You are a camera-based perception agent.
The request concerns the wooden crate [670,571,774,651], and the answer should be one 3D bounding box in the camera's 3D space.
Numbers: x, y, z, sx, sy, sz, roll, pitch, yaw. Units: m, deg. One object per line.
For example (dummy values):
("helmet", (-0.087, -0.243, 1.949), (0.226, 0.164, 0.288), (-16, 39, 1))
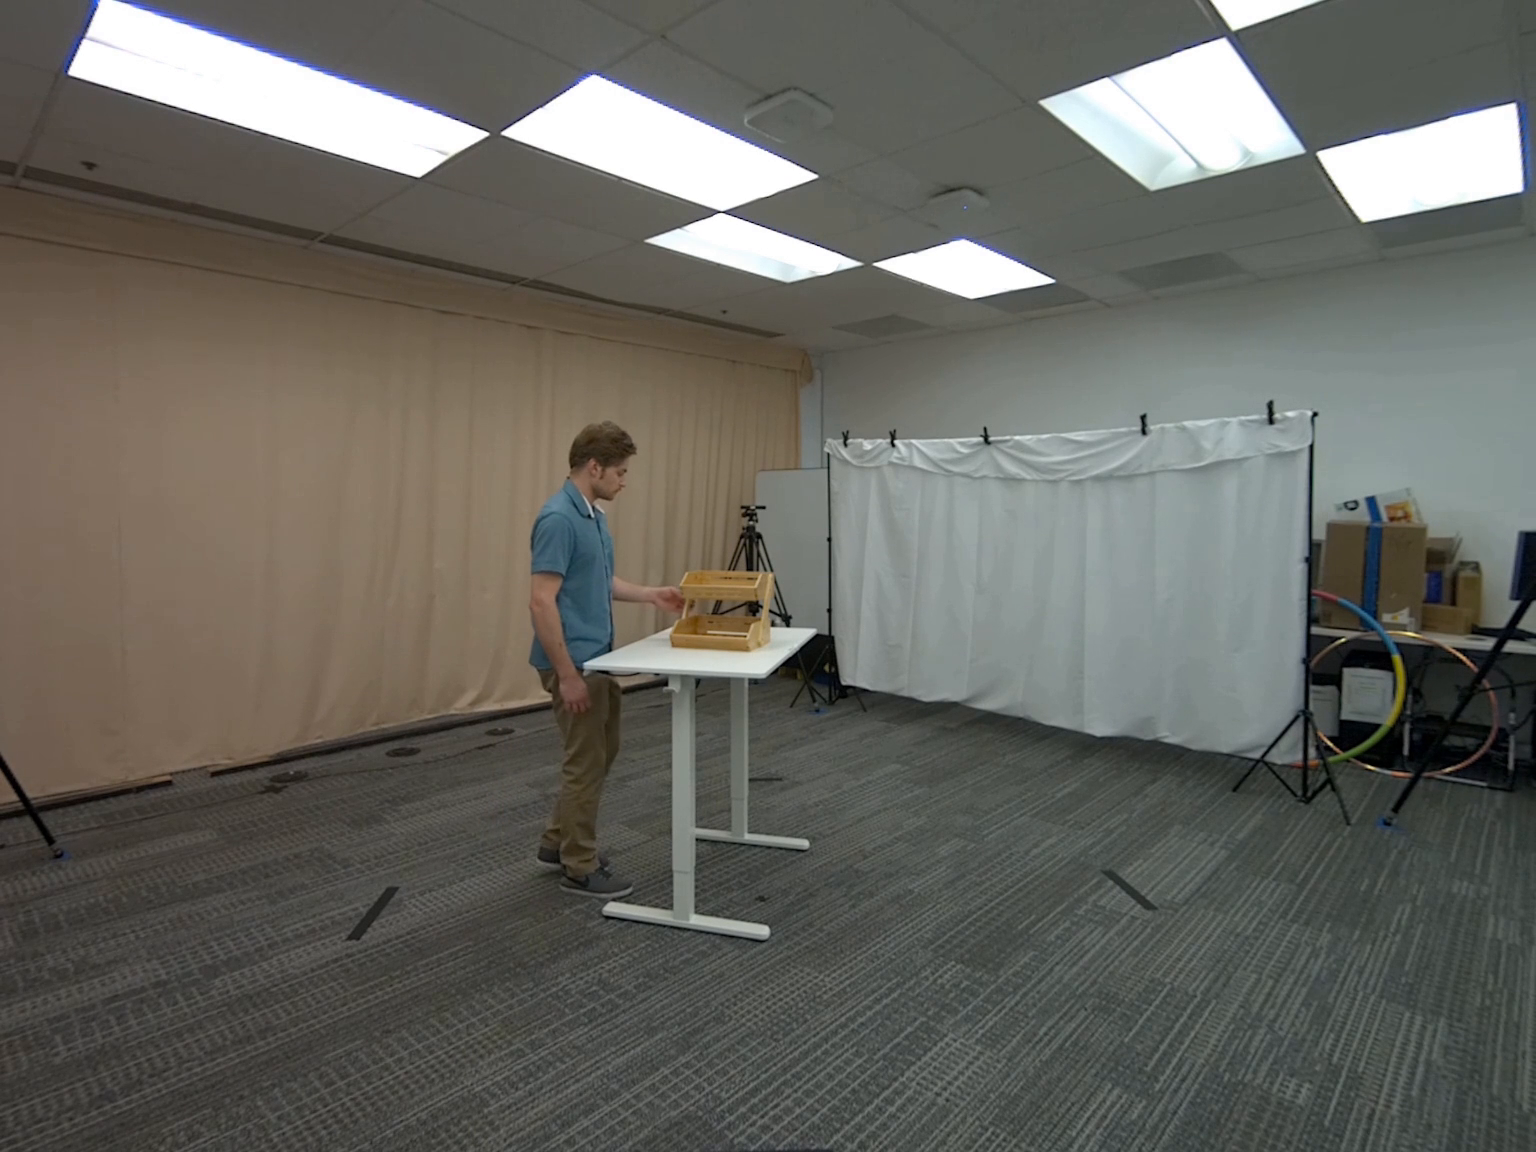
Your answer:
("wooden crate", (-0.164, 0.121, 3.103), (0.331, 0.273, 0.296), (1, 3, 19))
